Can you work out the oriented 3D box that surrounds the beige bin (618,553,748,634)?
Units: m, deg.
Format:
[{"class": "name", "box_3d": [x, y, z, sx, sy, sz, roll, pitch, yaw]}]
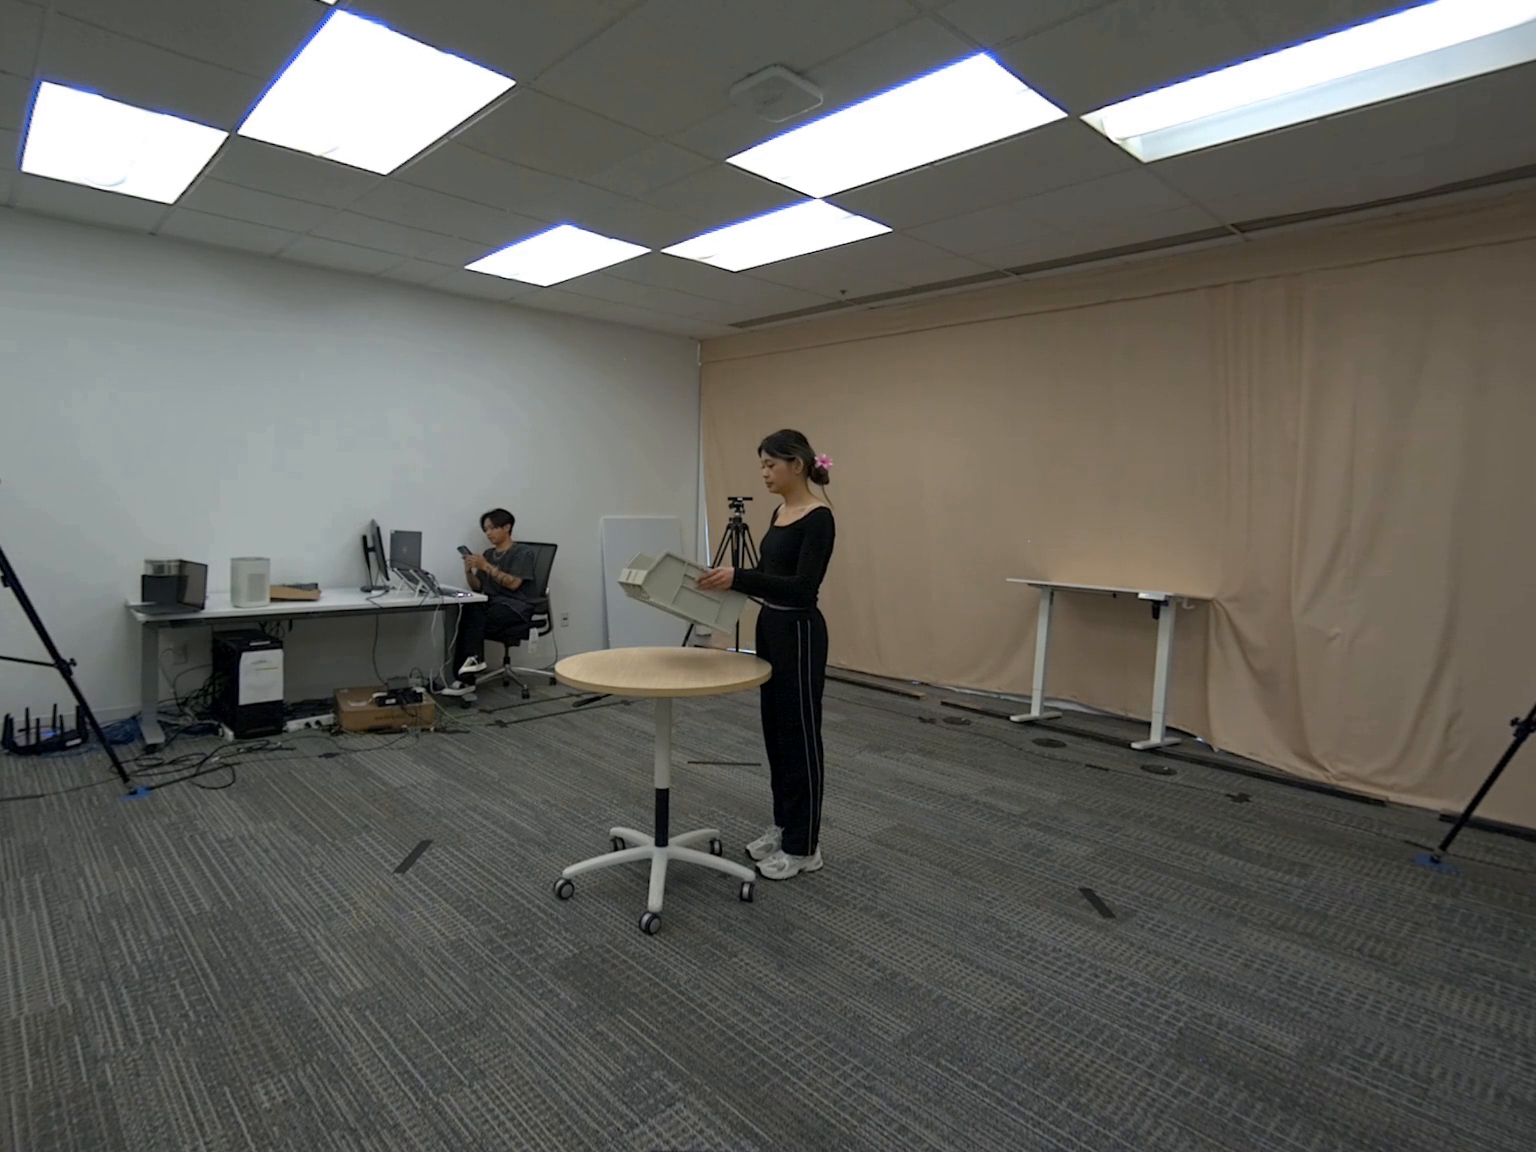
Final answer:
[{"class": "beige bin", "box_3d": [-0.322, 0.055, 3.018, 0.371, 0.189, 0.429, 26, -8, -19]}]
